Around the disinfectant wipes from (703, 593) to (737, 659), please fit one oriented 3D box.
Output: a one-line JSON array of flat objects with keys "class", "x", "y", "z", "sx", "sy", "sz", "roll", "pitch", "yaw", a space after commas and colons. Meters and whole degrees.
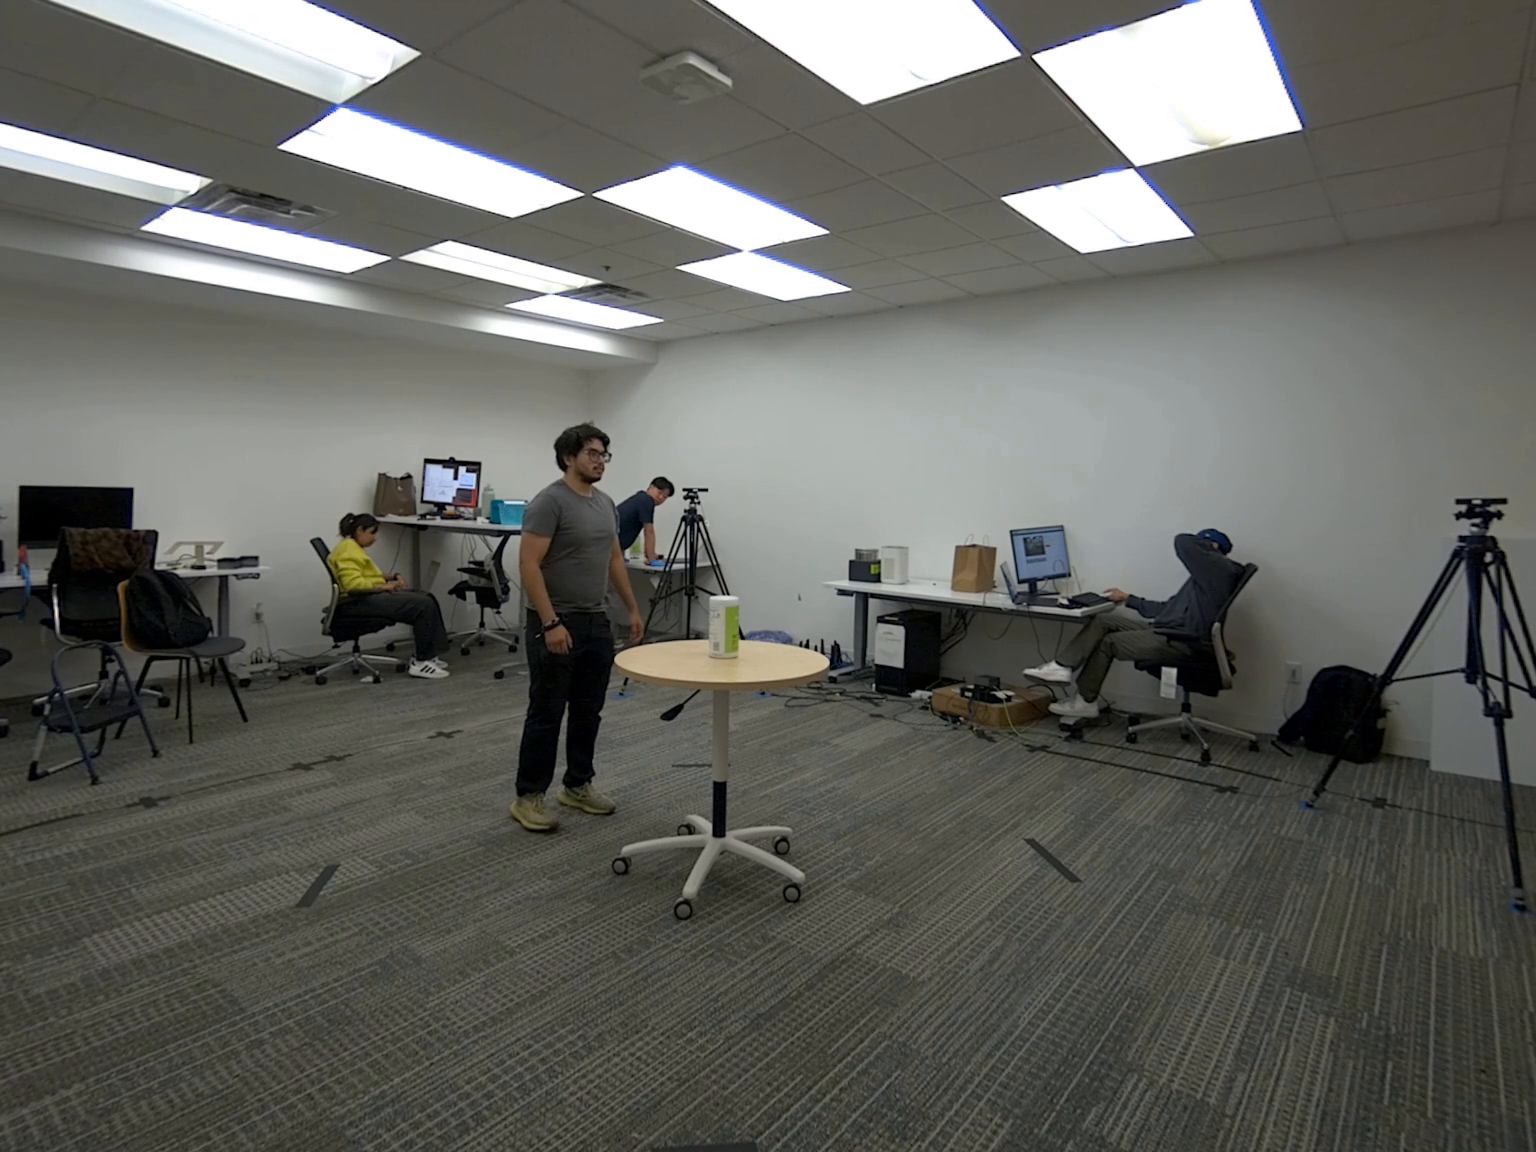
[{"class": "disinfectant wipes", "x": -0.178, "y": 0.179, "z": 3.073, "sx": 0.118, "sy": 0.217, "sz": 0.118, "roll": -1, "pitch": 3, "yaw": -2}]
